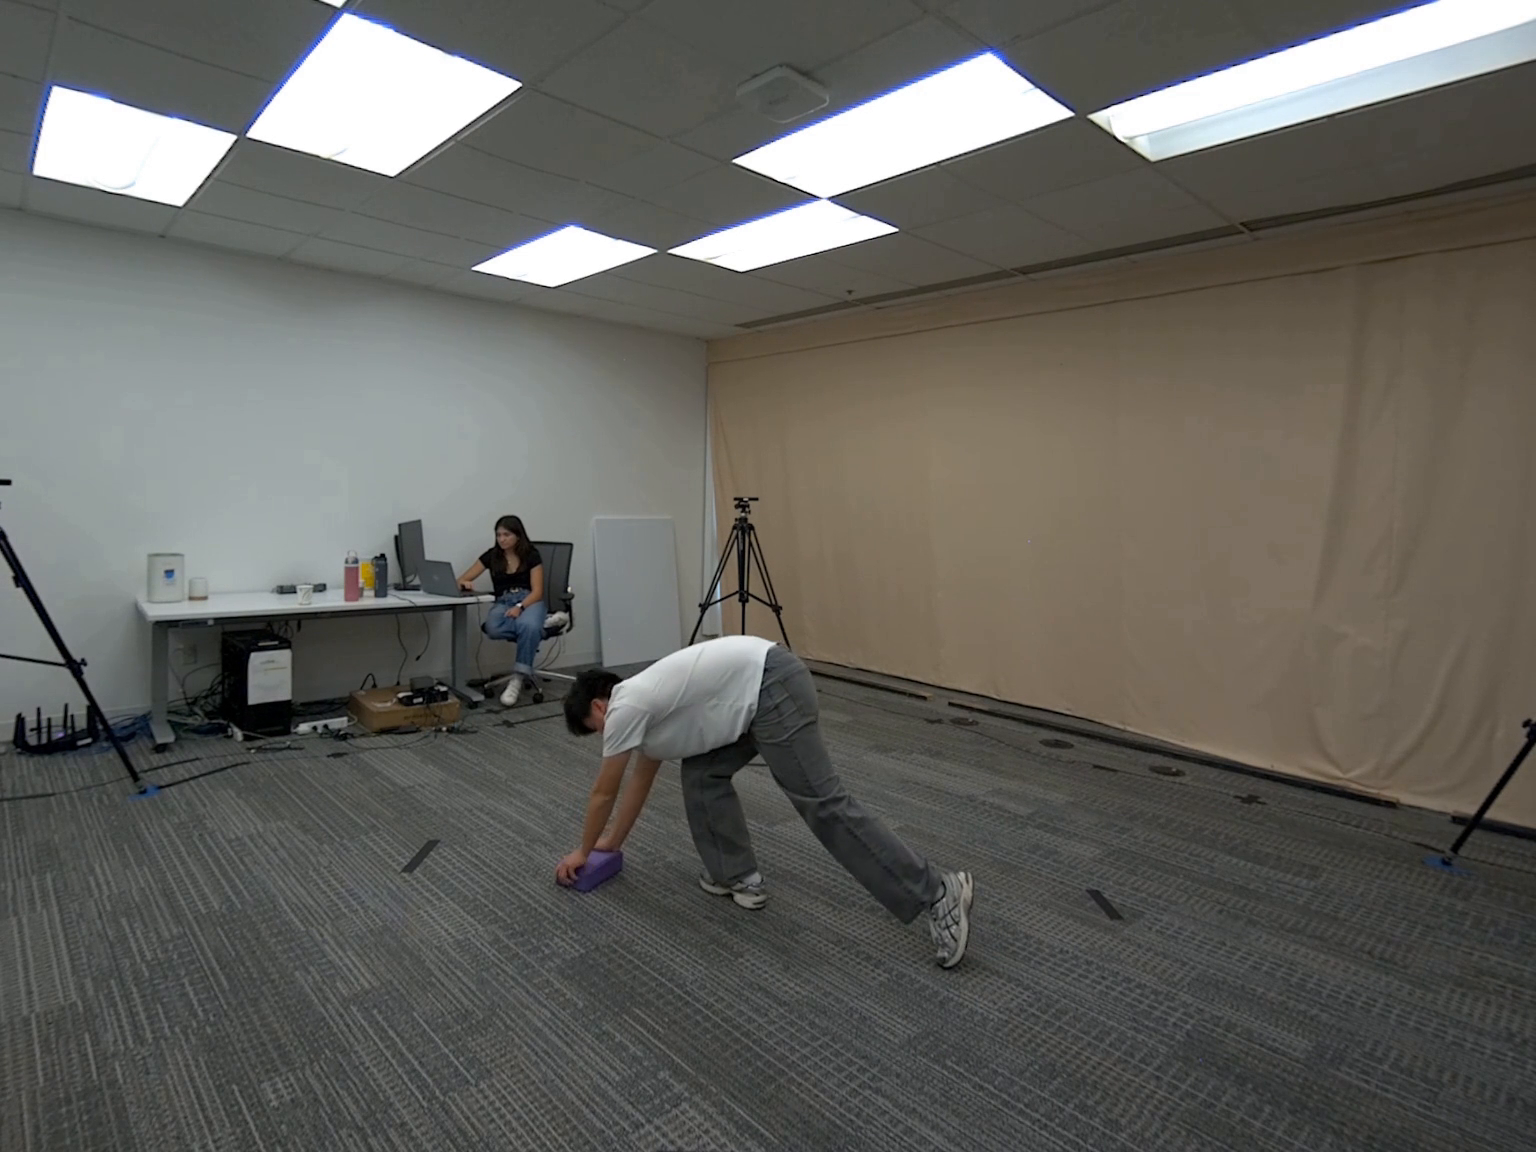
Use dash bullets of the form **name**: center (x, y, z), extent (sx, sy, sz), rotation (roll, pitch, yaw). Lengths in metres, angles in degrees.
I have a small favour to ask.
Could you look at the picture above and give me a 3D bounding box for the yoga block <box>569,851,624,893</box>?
- **yoga block**: center (-0.657, 1.060, 3.068), extent (0.152, 0.076, 0.225), rotation (2, 4, 25)
